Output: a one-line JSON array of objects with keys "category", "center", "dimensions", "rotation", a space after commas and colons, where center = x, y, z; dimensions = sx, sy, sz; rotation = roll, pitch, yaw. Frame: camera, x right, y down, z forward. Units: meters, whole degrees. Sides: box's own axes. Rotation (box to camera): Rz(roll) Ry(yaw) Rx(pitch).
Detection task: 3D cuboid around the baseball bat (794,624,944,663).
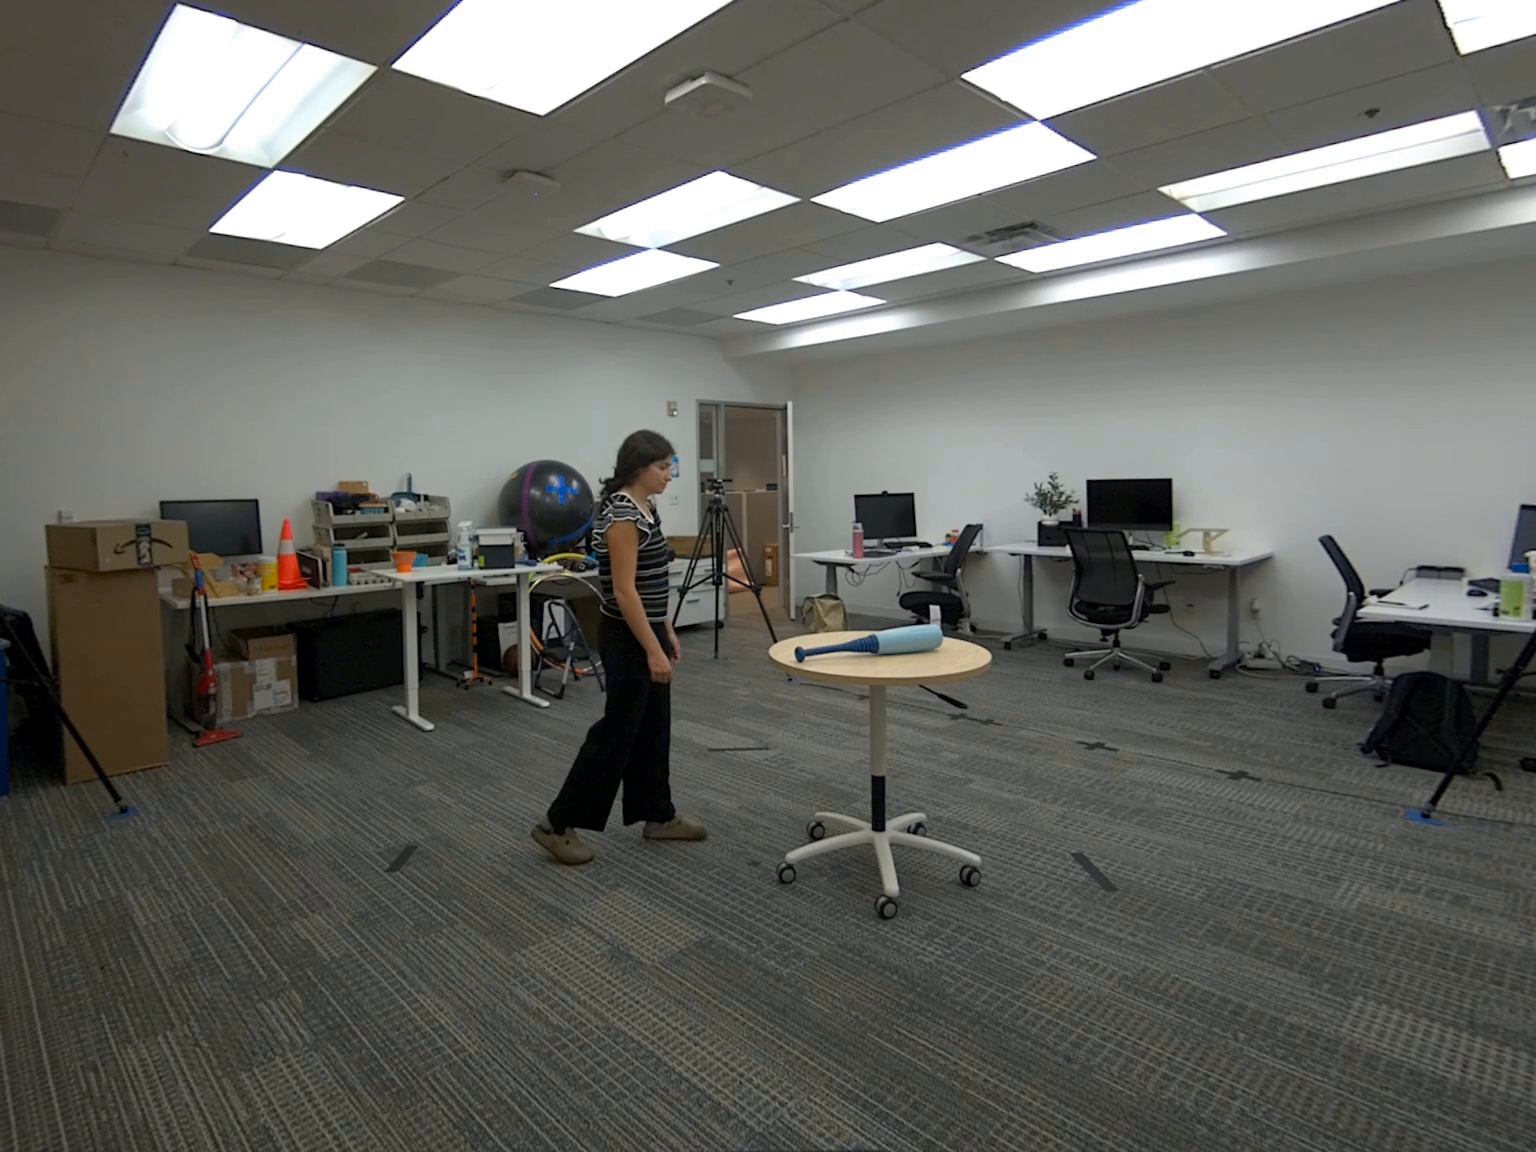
[{"category": "baseball bat", "center": [0.350, 0.239, 2.926], "dimensions": [0.534, 0.088, 0.091], "rotation": [-6, 6, -19]}]
